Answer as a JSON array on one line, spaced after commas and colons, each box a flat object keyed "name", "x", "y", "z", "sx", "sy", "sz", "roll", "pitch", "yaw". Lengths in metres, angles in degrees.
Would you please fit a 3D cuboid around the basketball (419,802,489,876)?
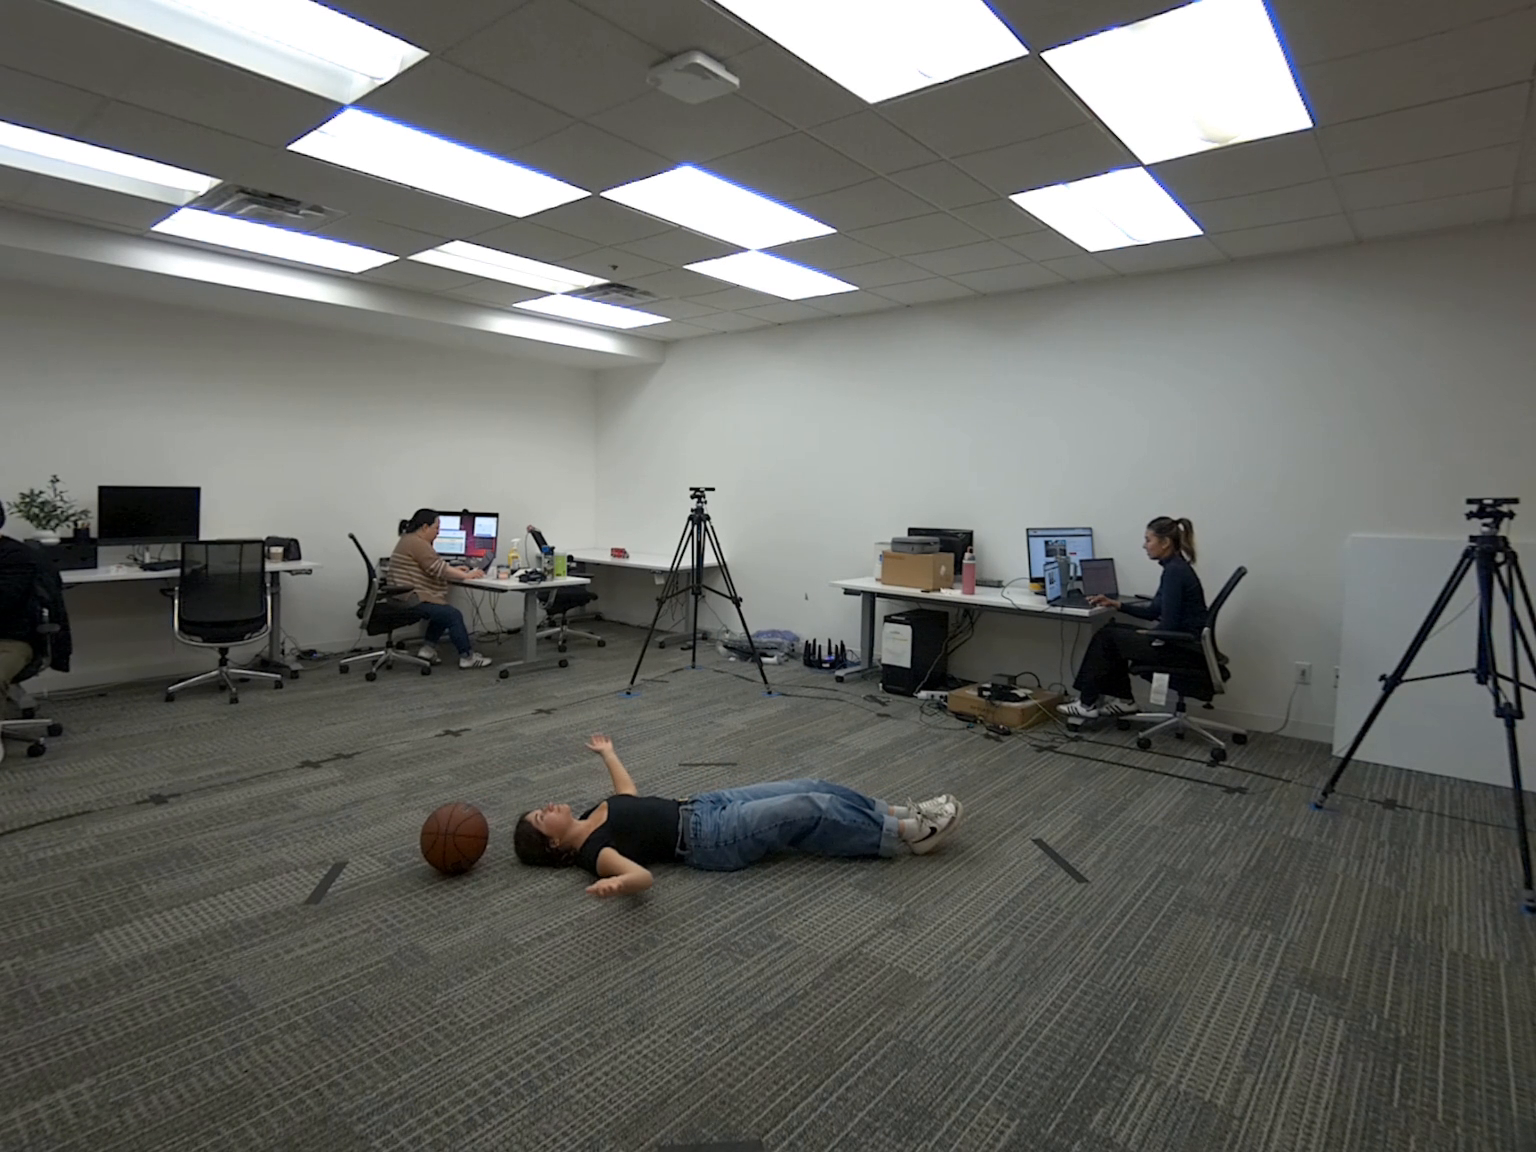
[{"name": "basketball", "x": -1.142, "y": 0.934, "z": 3.059, "sx": 0.235, "sy": 0.235, "sz": 0.237, "roll": 1, "pitch": 4, "yaw": -2}]
